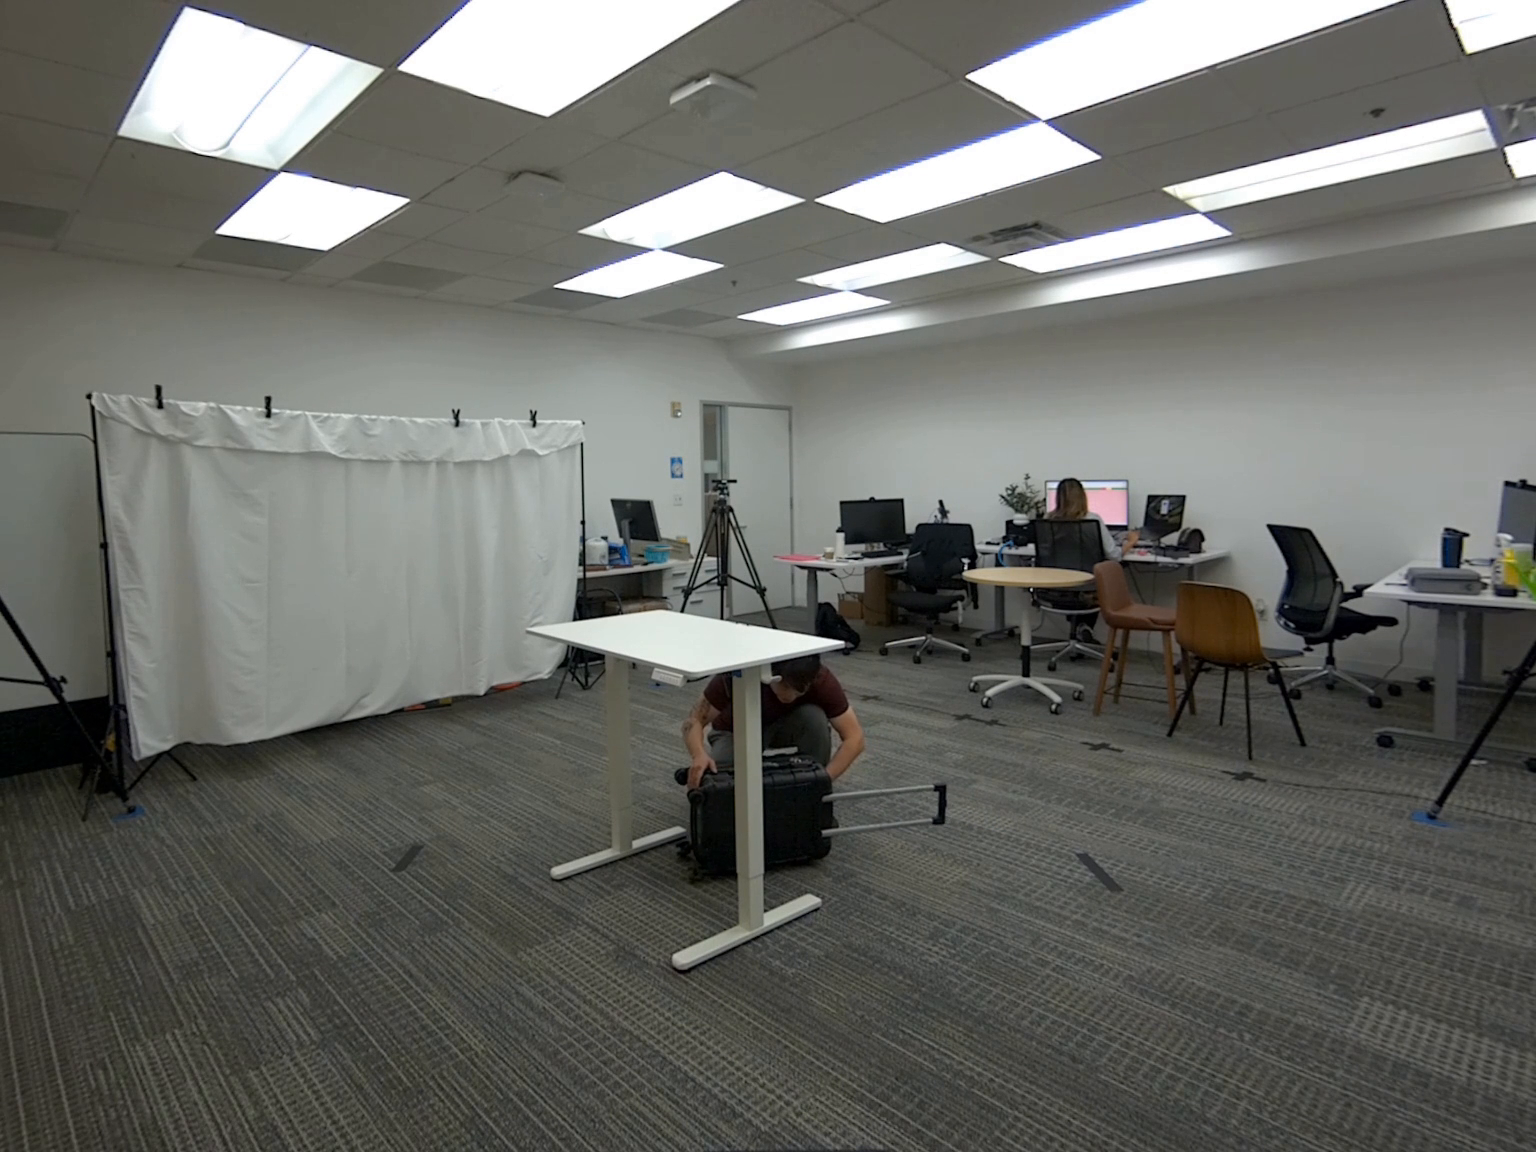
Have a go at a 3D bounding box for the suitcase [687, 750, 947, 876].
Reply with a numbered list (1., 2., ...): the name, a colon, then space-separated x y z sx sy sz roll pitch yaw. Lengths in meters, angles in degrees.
1. suitcase: 0.154 0.841 3.173 0.964 0.381 0.263 -4 8 -17
